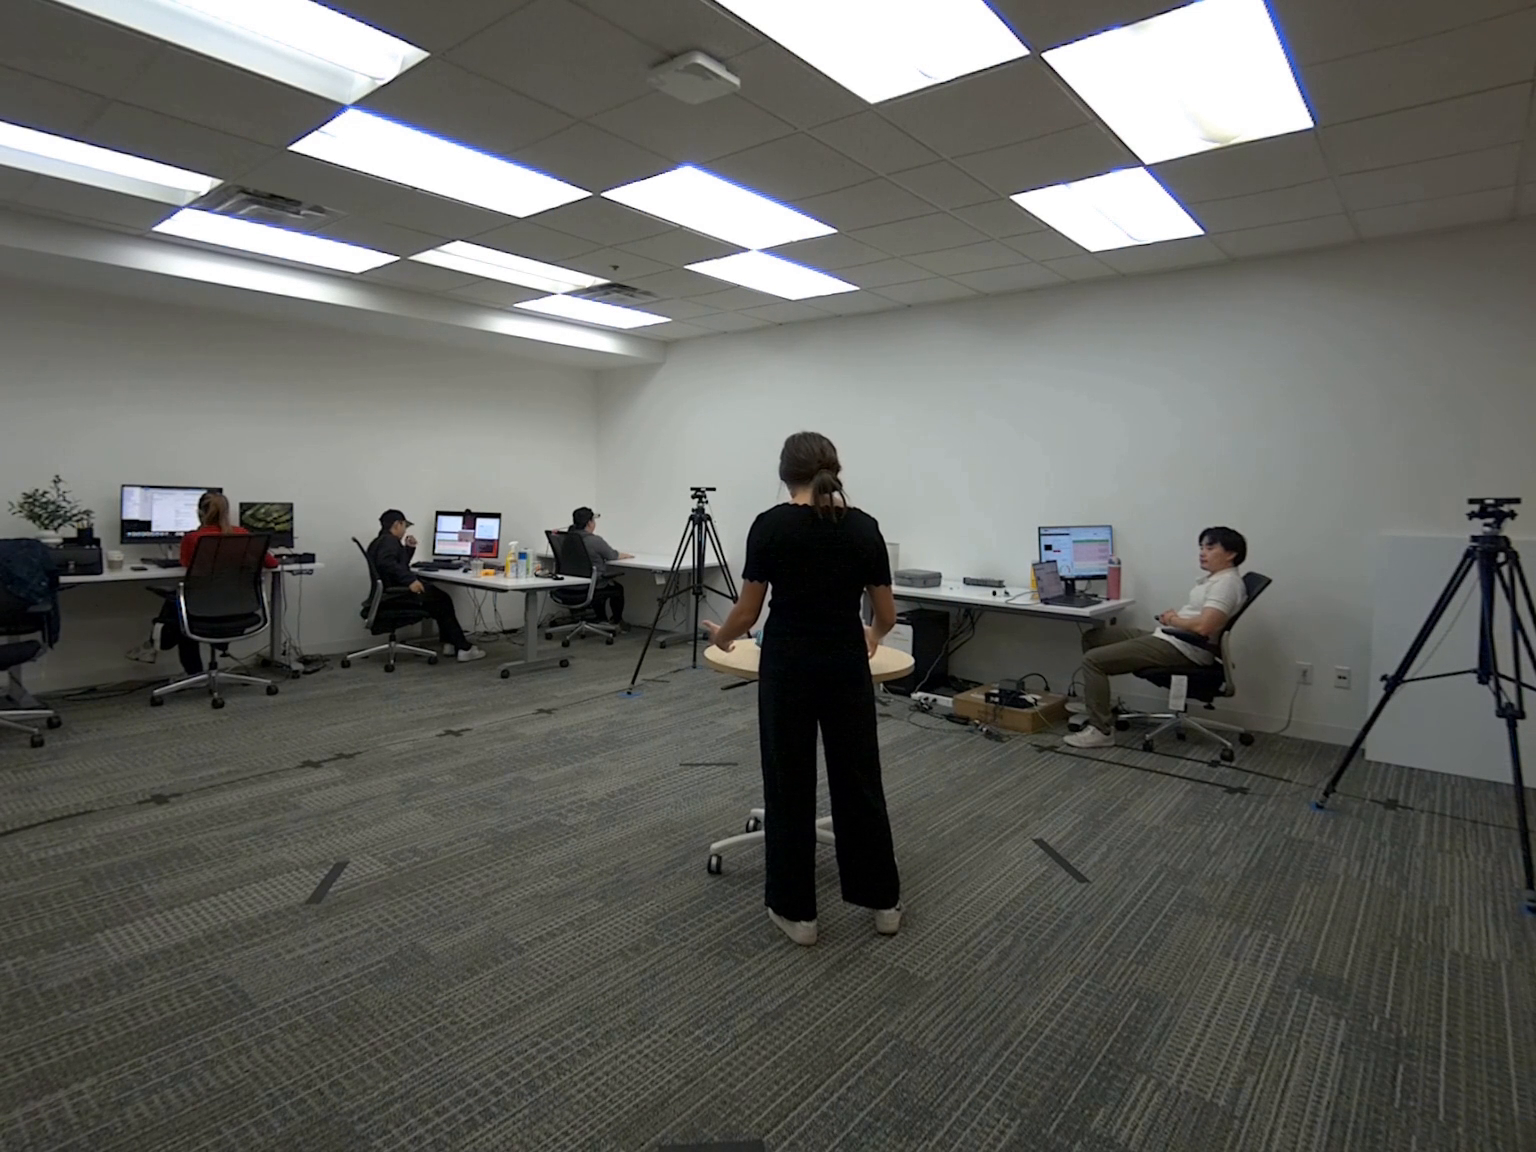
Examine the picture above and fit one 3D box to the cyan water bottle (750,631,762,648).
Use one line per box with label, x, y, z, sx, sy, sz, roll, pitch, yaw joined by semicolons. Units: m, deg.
cyan water bottle;0.029;0.240;3.084;0.090;0.092;0.290;-1;6;-22
